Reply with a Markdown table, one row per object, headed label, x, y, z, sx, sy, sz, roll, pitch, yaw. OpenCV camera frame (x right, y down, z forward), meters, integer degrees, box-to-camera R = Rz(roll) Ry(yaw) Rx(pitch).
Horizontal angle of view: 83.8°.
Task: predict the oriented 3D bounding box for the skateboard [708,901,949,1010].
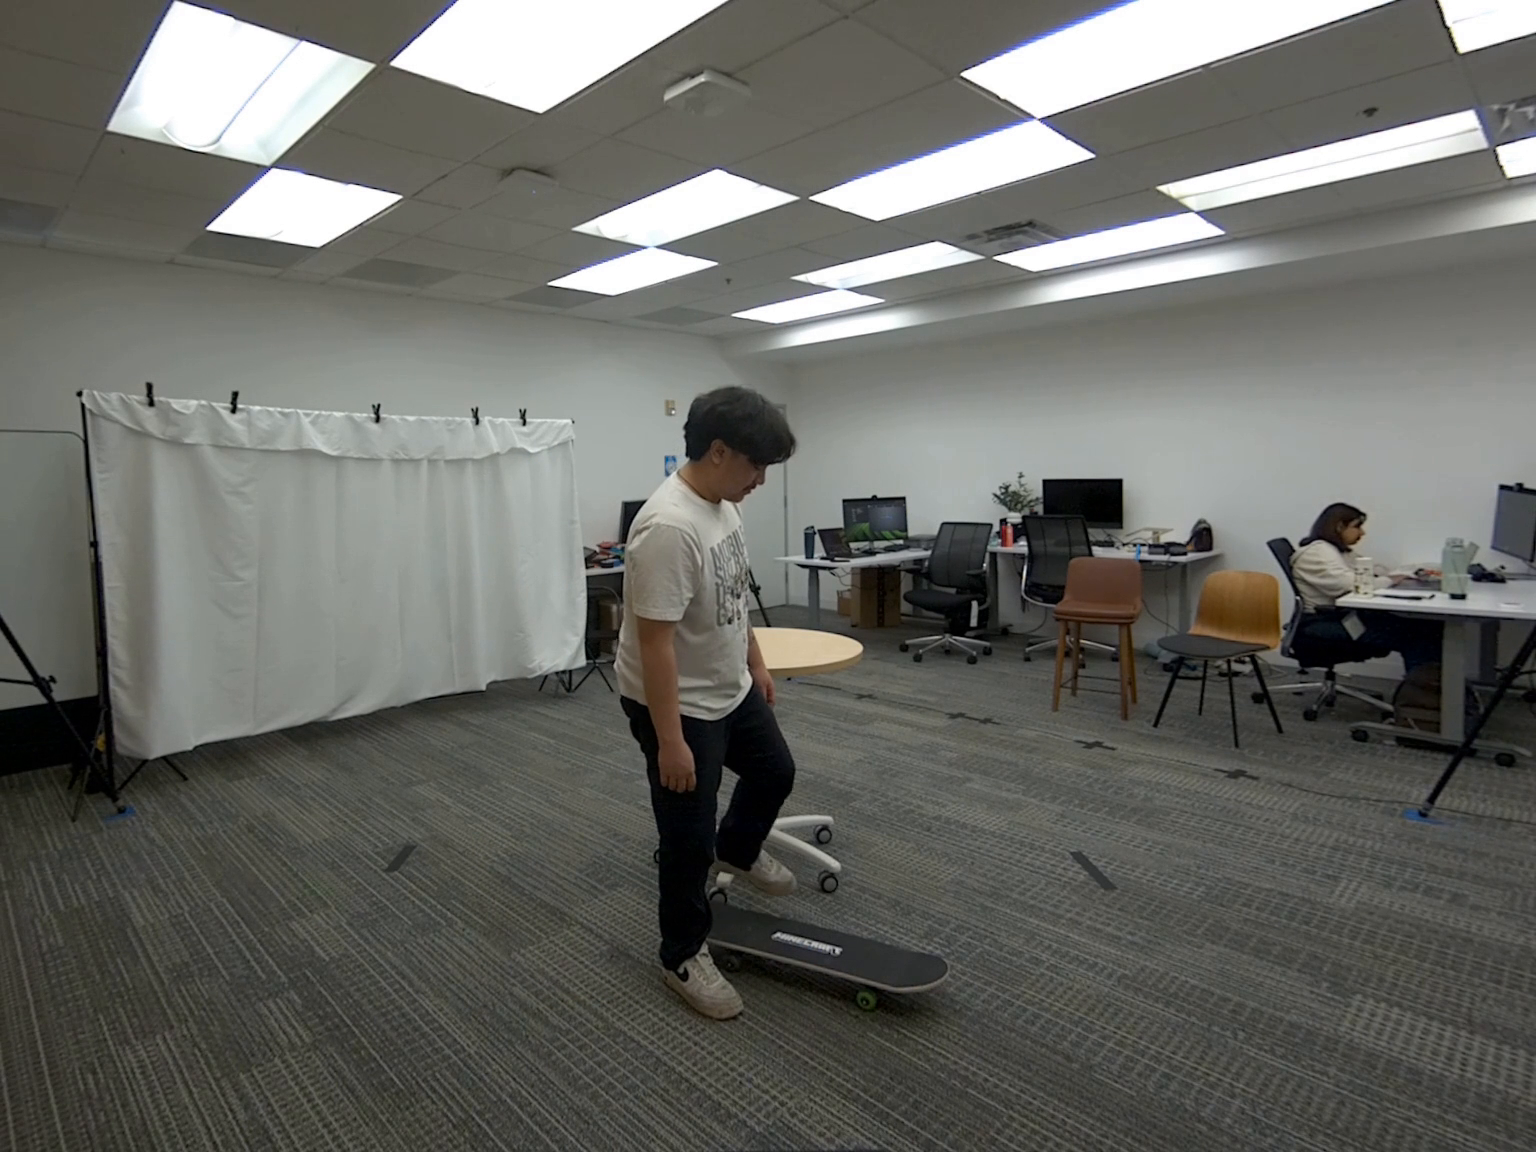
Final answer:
| label | x | y | z | sx | sy | sz | roll | pitch | yaw |
| --- | --- | --- | --- | --- | --- | --- | --- | --- | --- |
| skateboard | 0.117 | 1.069 | 2.401 | 0.804 | 0.110 | 0.190 | 1 | 7 | 27 |
